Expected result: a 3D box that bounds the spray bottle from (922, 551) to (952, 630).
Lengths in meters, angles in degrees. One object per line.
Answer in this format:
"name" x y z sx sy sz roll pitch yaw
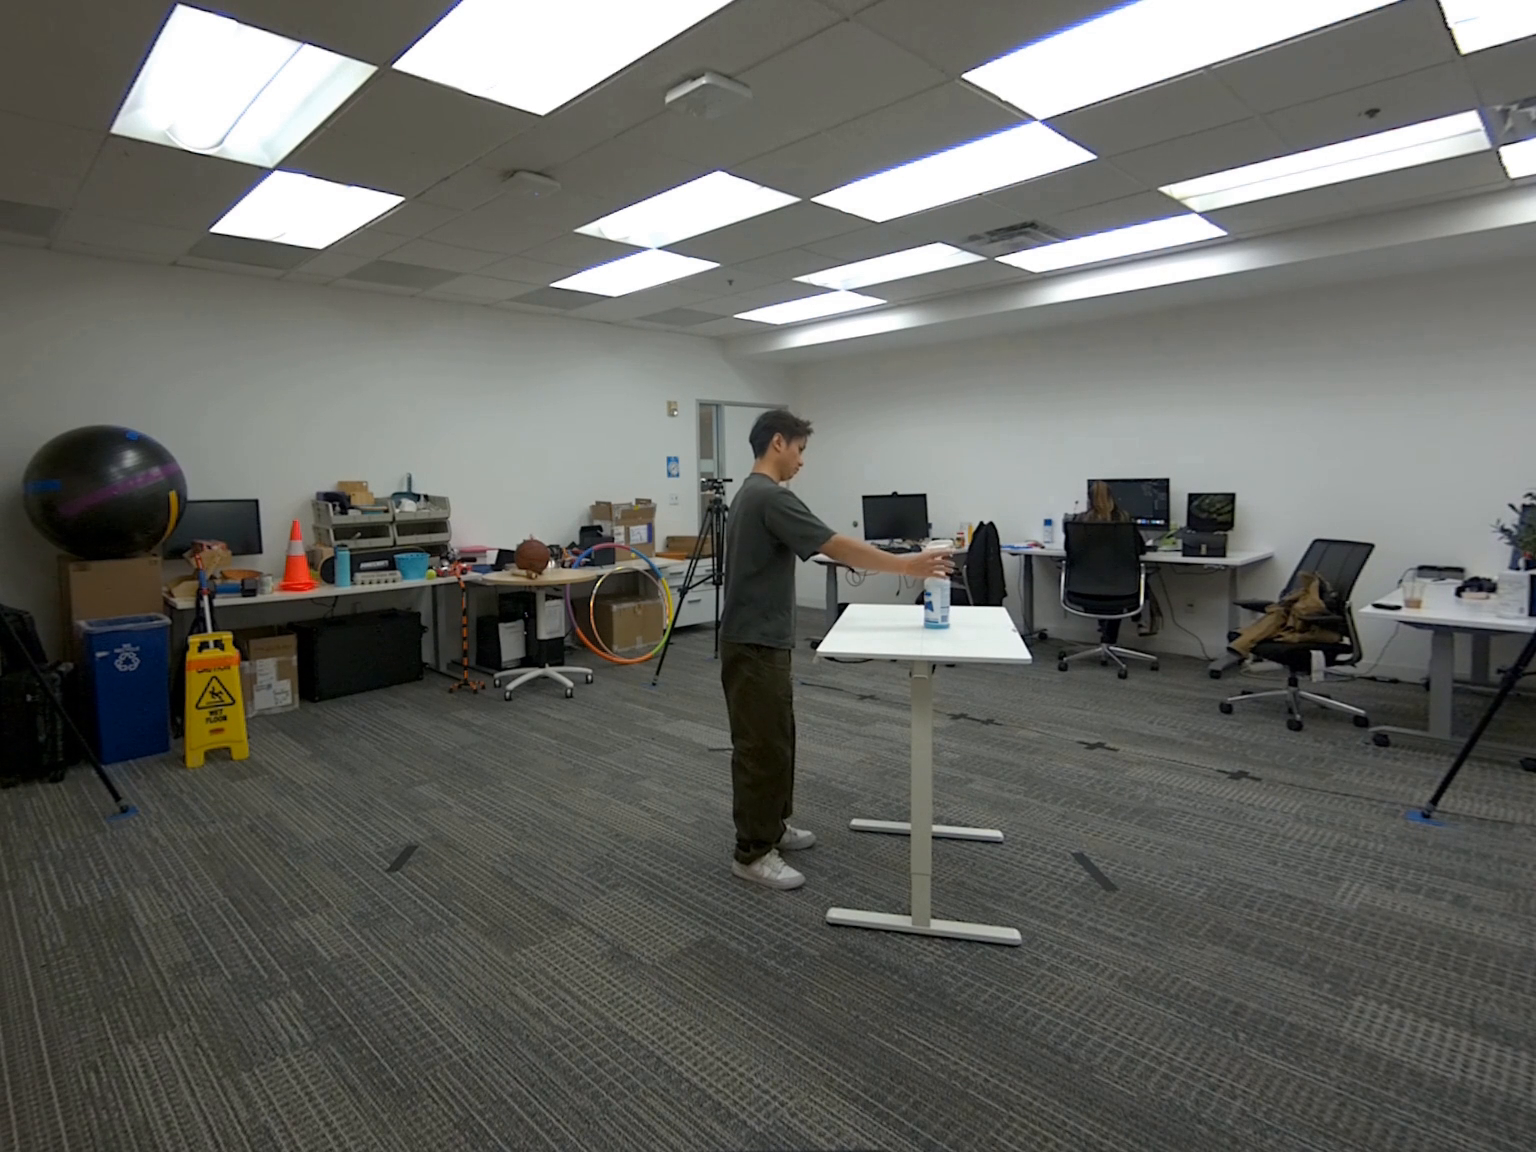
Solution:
"spray bottle" 0.574 0.029 2.894 0.093 0.297 0.084 2 2 38
